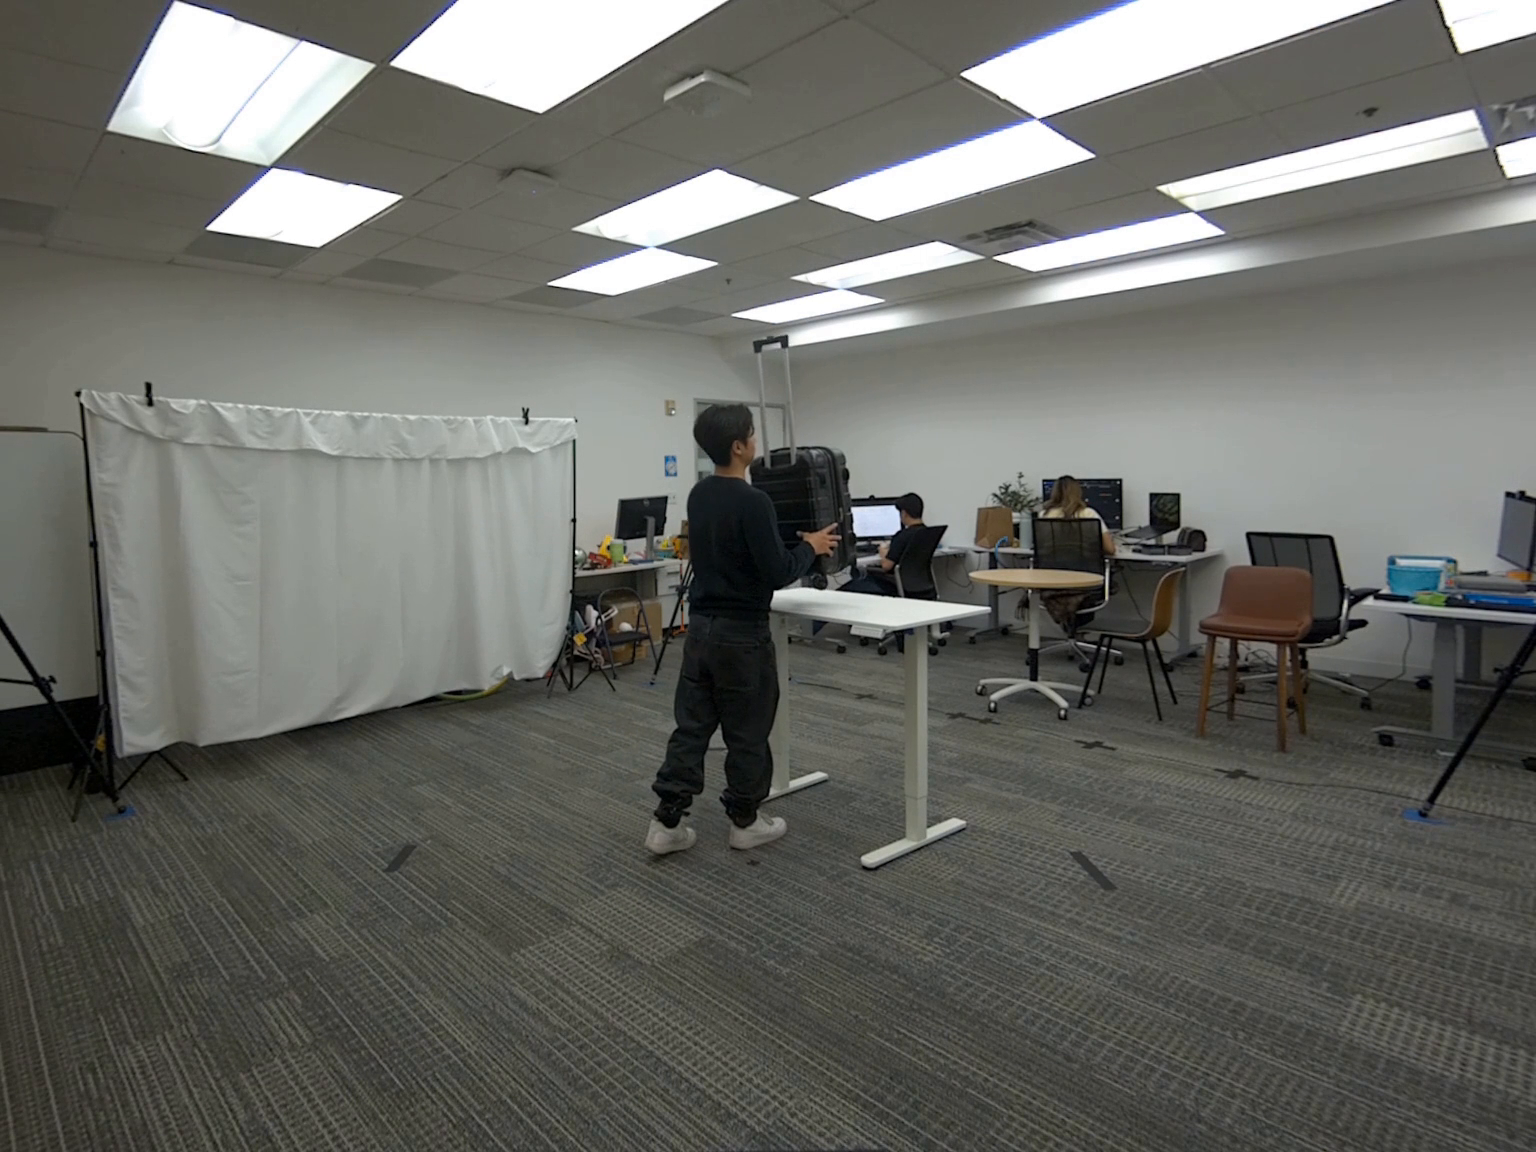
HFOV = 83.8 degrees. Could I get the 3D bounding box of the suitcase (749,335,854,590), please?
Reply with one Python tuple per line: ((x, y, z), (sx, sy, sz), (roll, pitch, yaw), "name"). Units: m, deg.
((0.119, -0.443, 3.410), (0.395, 0.975, 0.251), (-1, 5, 45), "suitcase")
